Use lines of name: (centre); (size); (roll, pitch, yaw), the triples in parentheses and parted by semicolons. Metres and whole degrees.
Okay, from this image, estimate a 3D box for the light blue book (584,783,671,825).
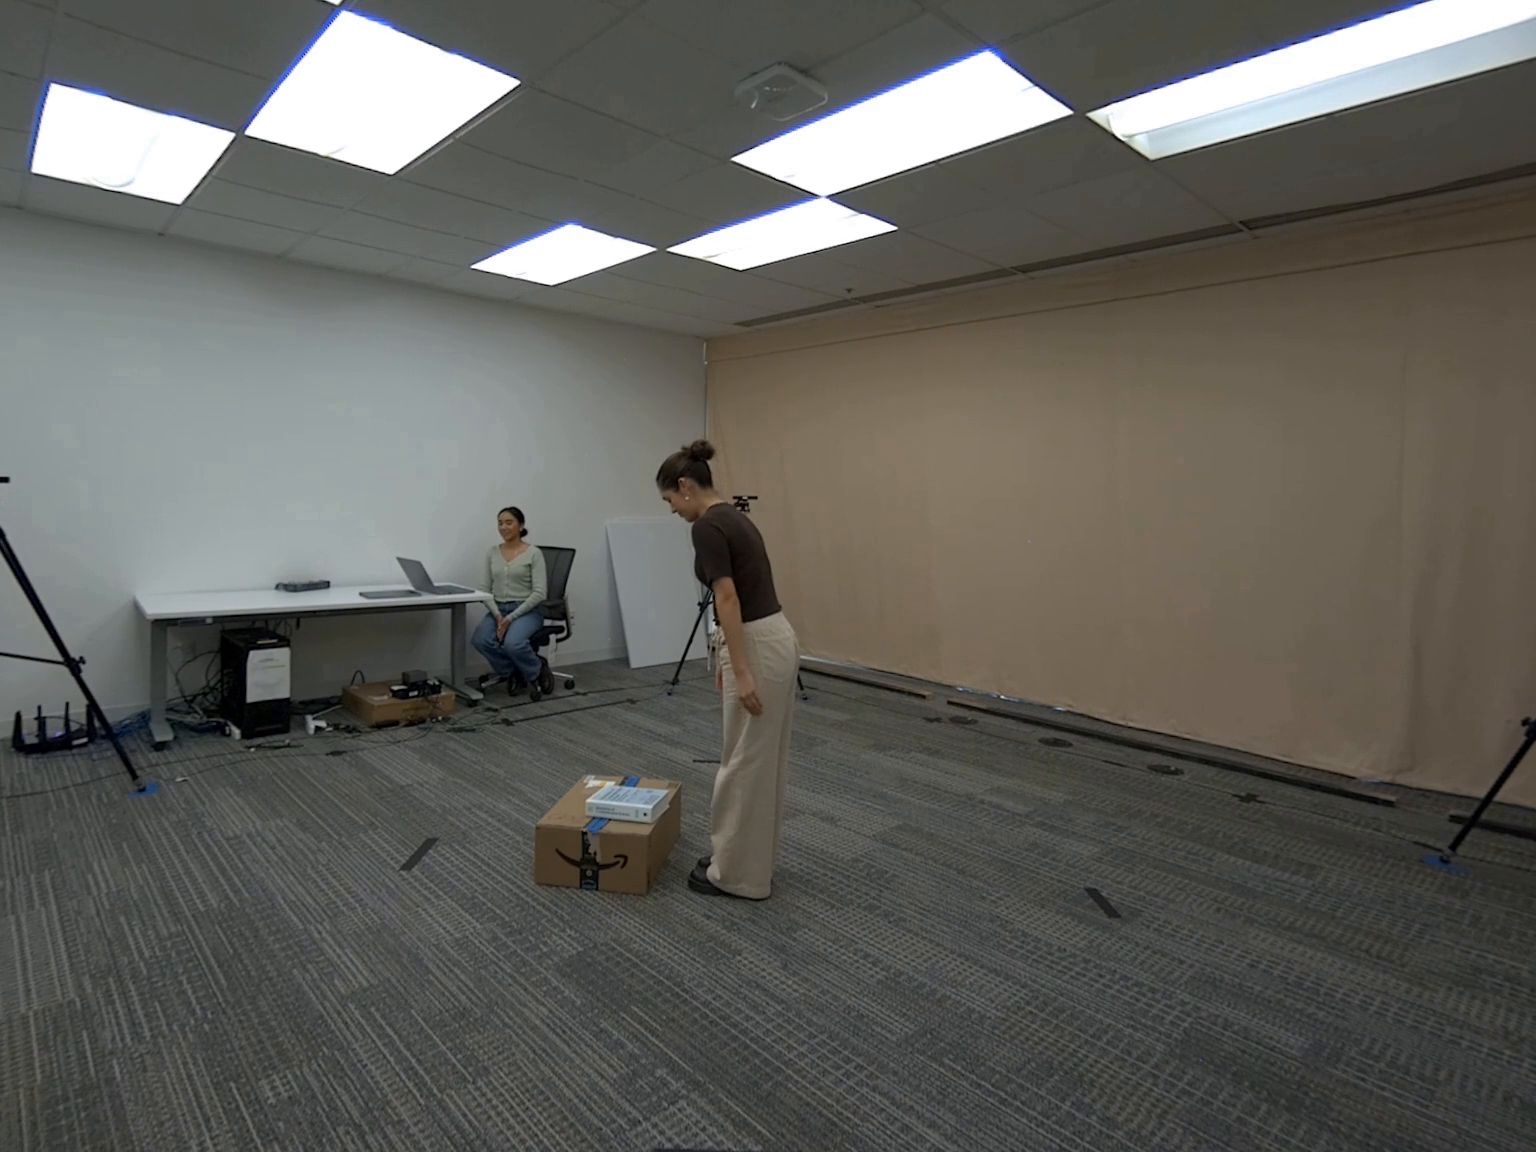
light blue book: (-0.526, 0.844, 3.149); (0.264, 0.059, 0.189); (2, 4, 15)
